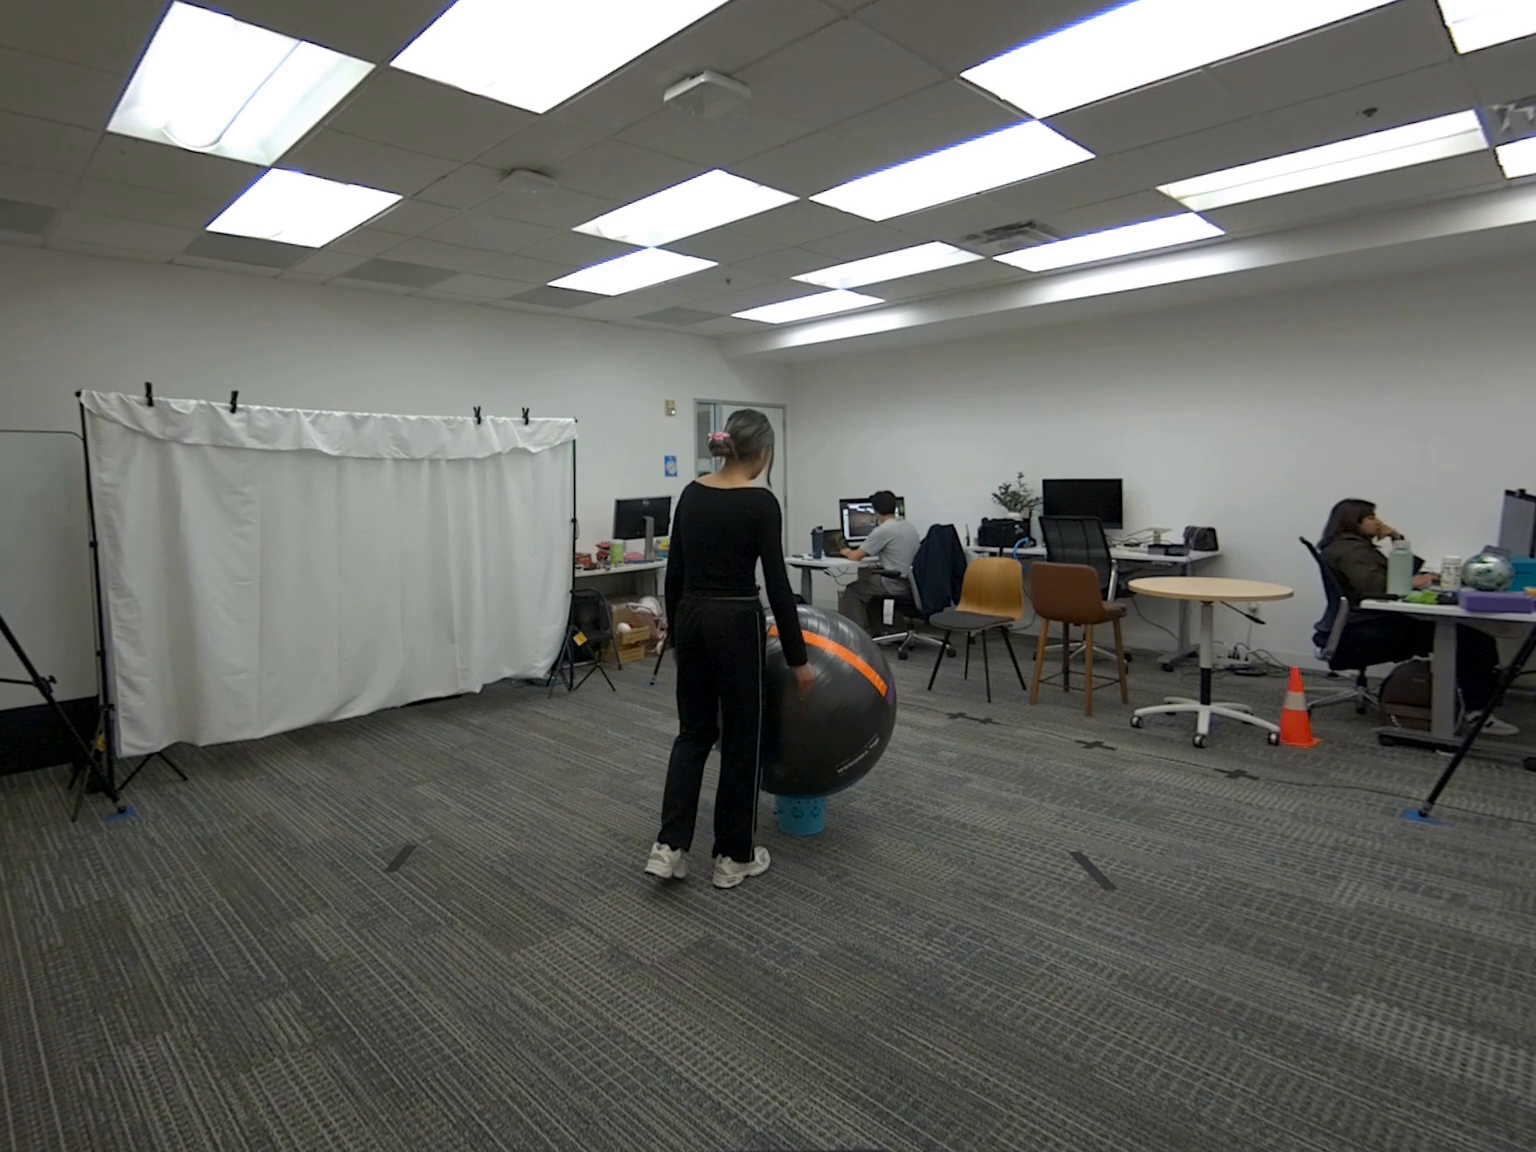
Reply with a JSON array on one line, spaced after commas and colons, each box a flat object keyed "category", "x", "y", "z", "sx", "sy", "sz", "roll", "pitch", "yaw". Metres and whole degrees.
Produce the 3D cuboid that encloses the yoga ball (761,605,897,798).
[{"category": "yoga ball", "x": 0.124, "y": 0.498, "z": 3.408, "sx": 0.757, "sy": 0.755, "sz": 0.762, "roll": -1, "pitch": 5, "yaw": -2}]
